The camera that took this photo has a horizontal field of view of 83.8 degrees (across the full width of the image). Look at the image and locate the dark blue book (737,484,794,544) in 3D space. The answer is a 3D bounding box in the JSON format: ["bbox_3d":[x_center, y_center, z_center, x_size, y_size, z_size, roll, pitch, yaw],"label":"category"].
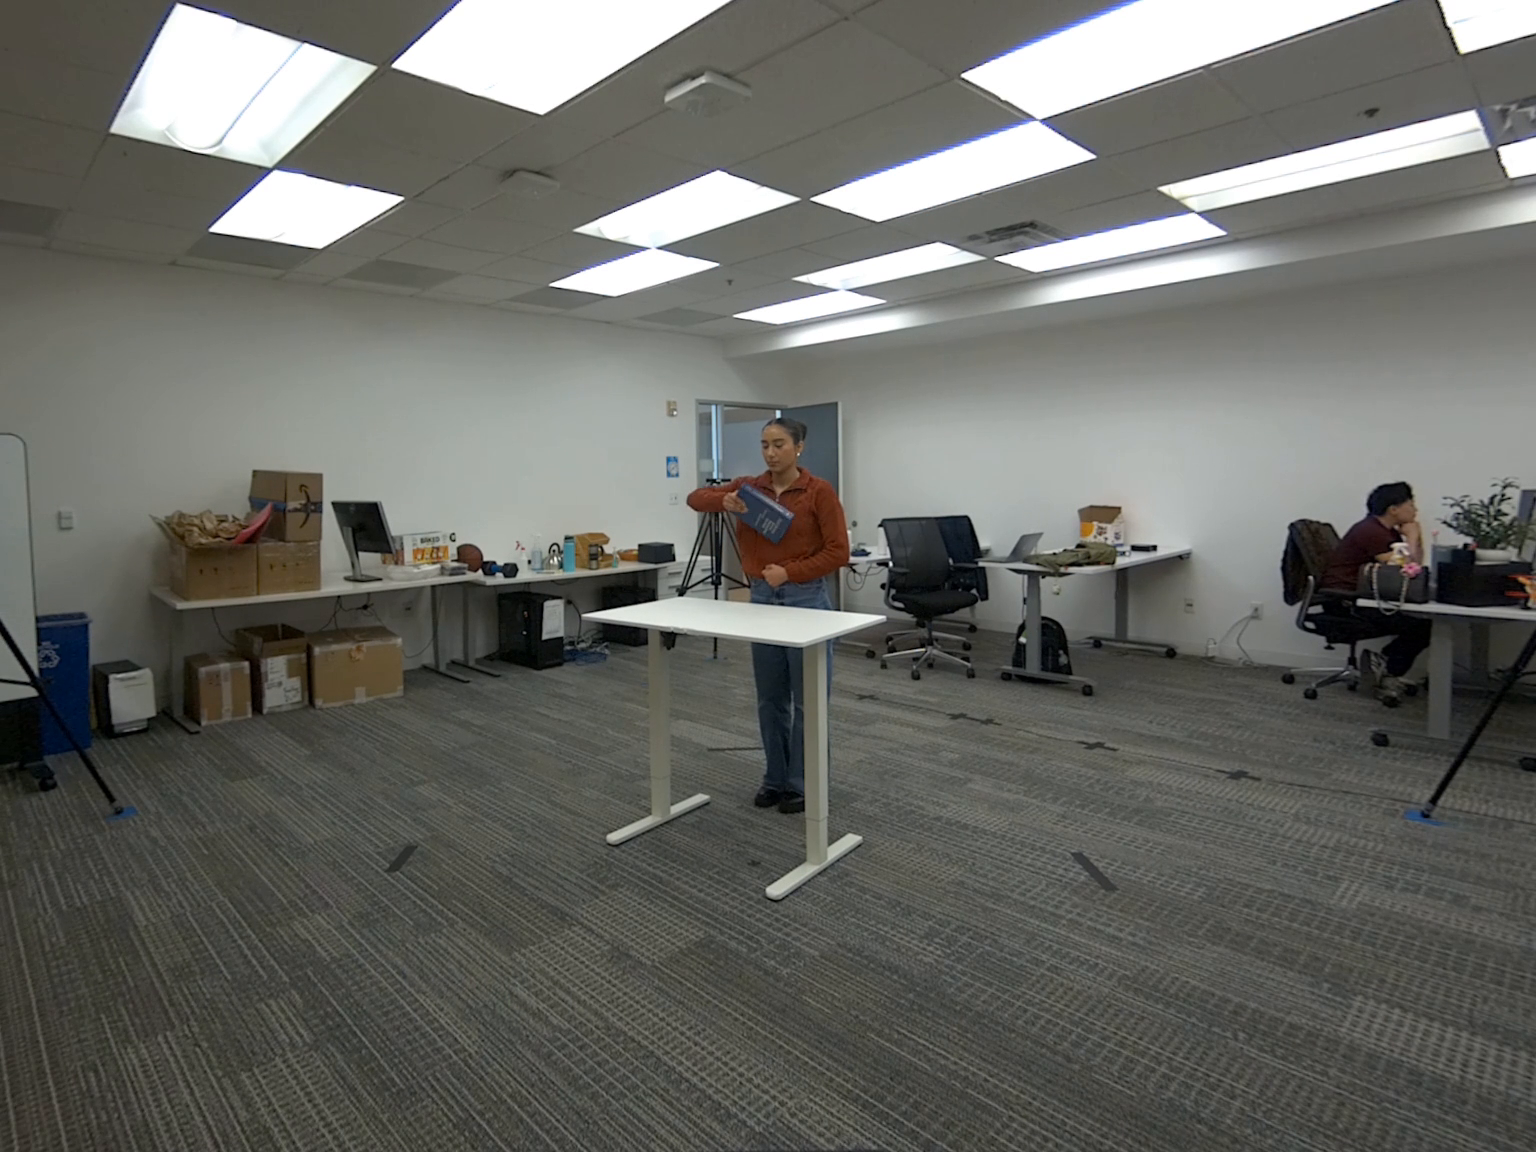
[{"bbox_3d":[-0.029,-0.255,3.501,0.248,0.161,0.045,37,50,9],"label":"dark blue book"}]
